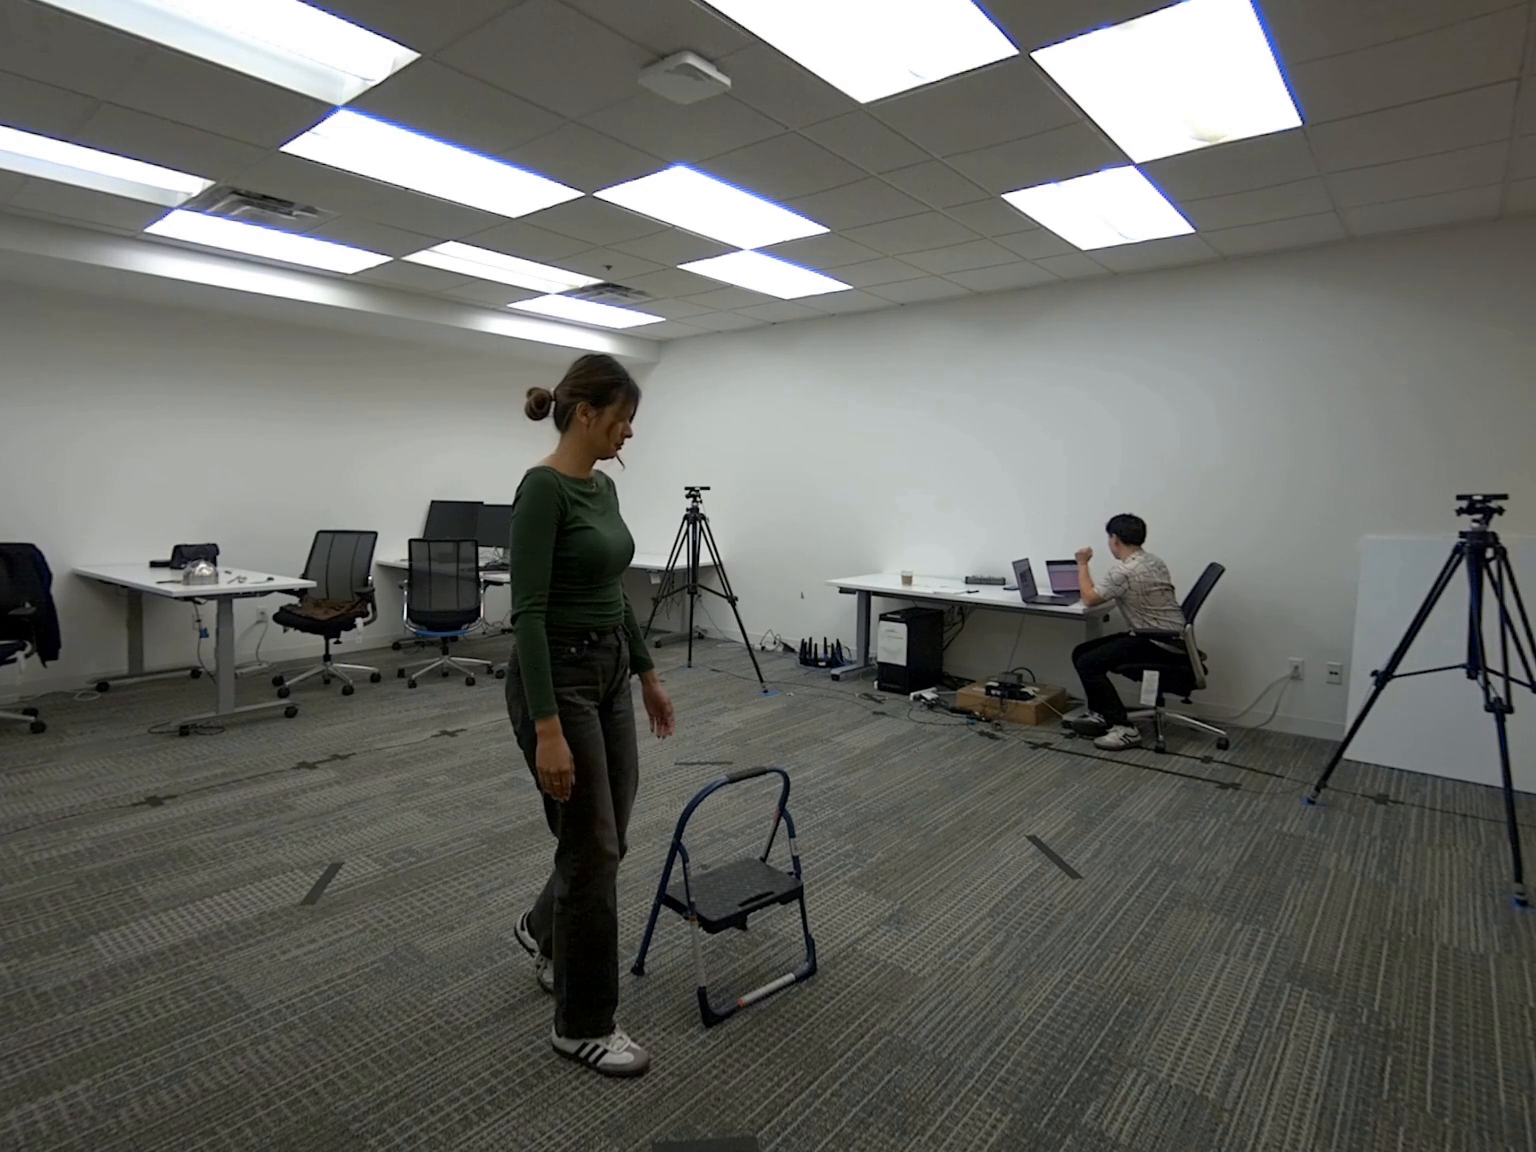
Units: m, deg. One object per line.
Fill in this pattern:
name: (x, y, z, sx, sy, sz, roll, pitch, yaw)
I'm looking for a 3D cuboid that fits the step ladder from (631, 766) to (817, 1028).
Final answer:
step ladder: (-0.125, 0.833, 2.427, 0.418, 0.604, 0.361, -3, 5, -42)
